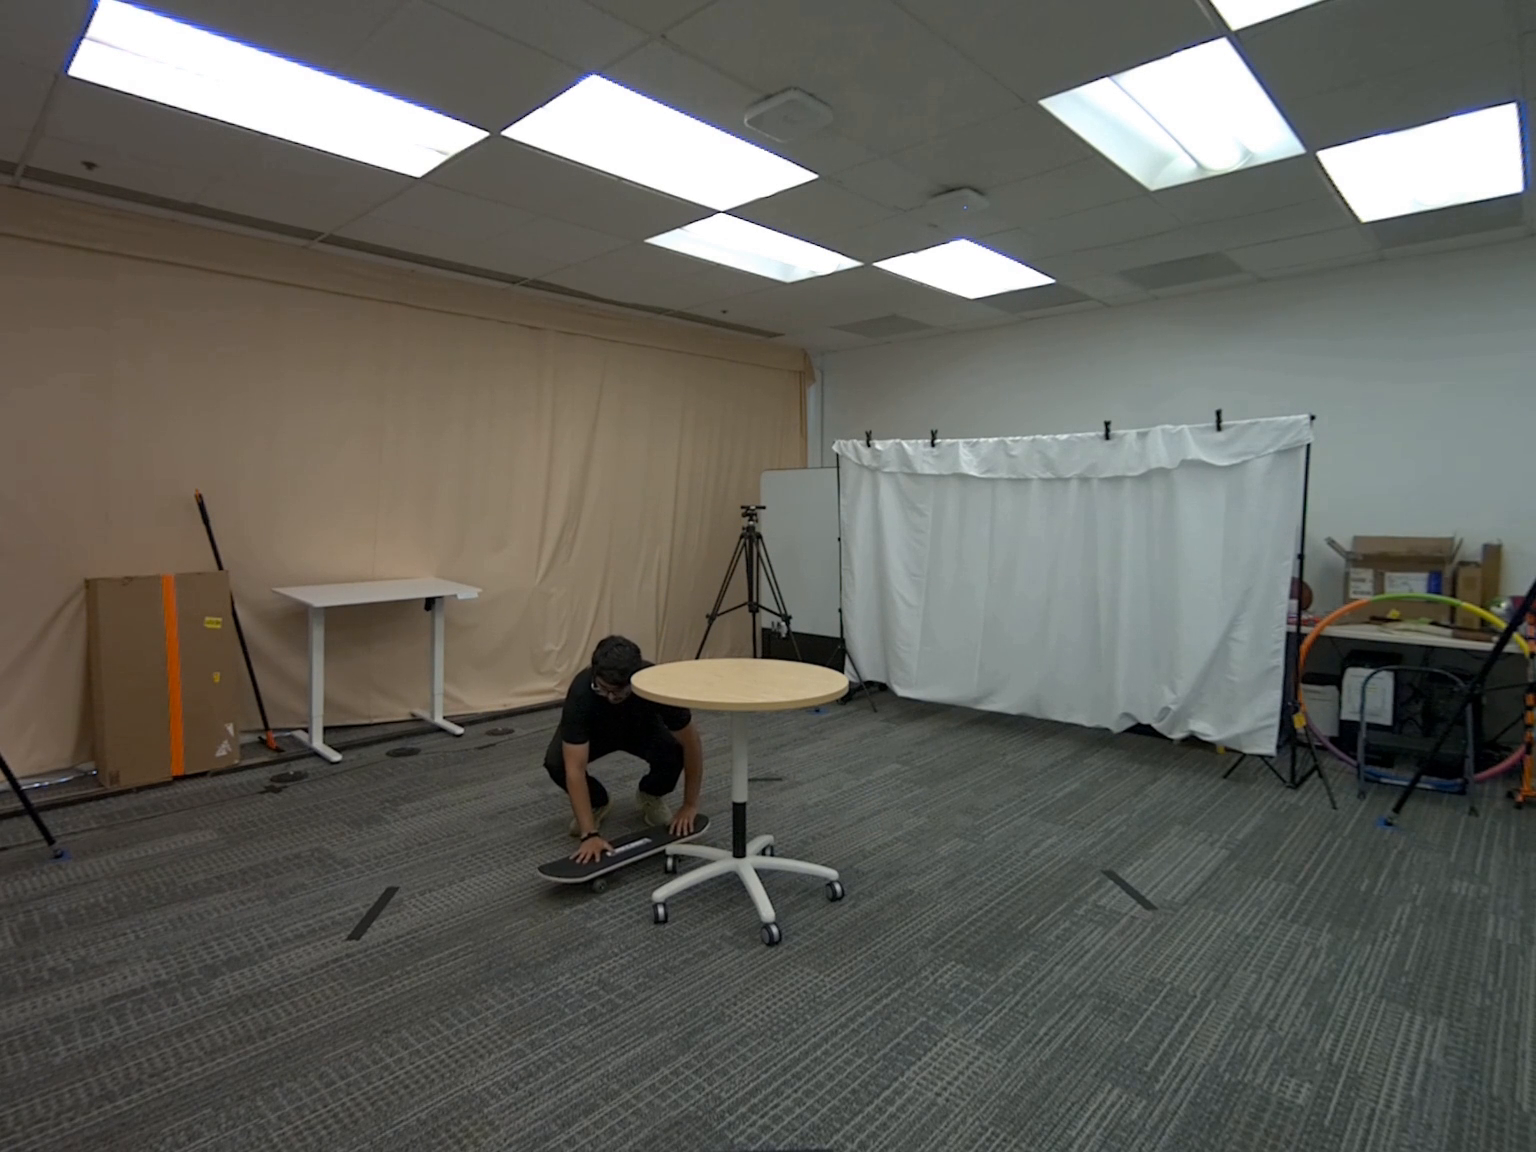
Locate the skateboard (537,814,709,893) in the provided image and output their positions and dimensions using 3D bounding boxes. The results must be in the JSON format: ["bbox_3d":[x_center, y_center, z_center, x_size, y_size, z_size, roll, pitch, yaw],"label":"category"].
[{"bbox_3d":[-0.518,1.064,3.227,0.200,0.110,0.762,3,6,45],"label":"skateboard"}]
